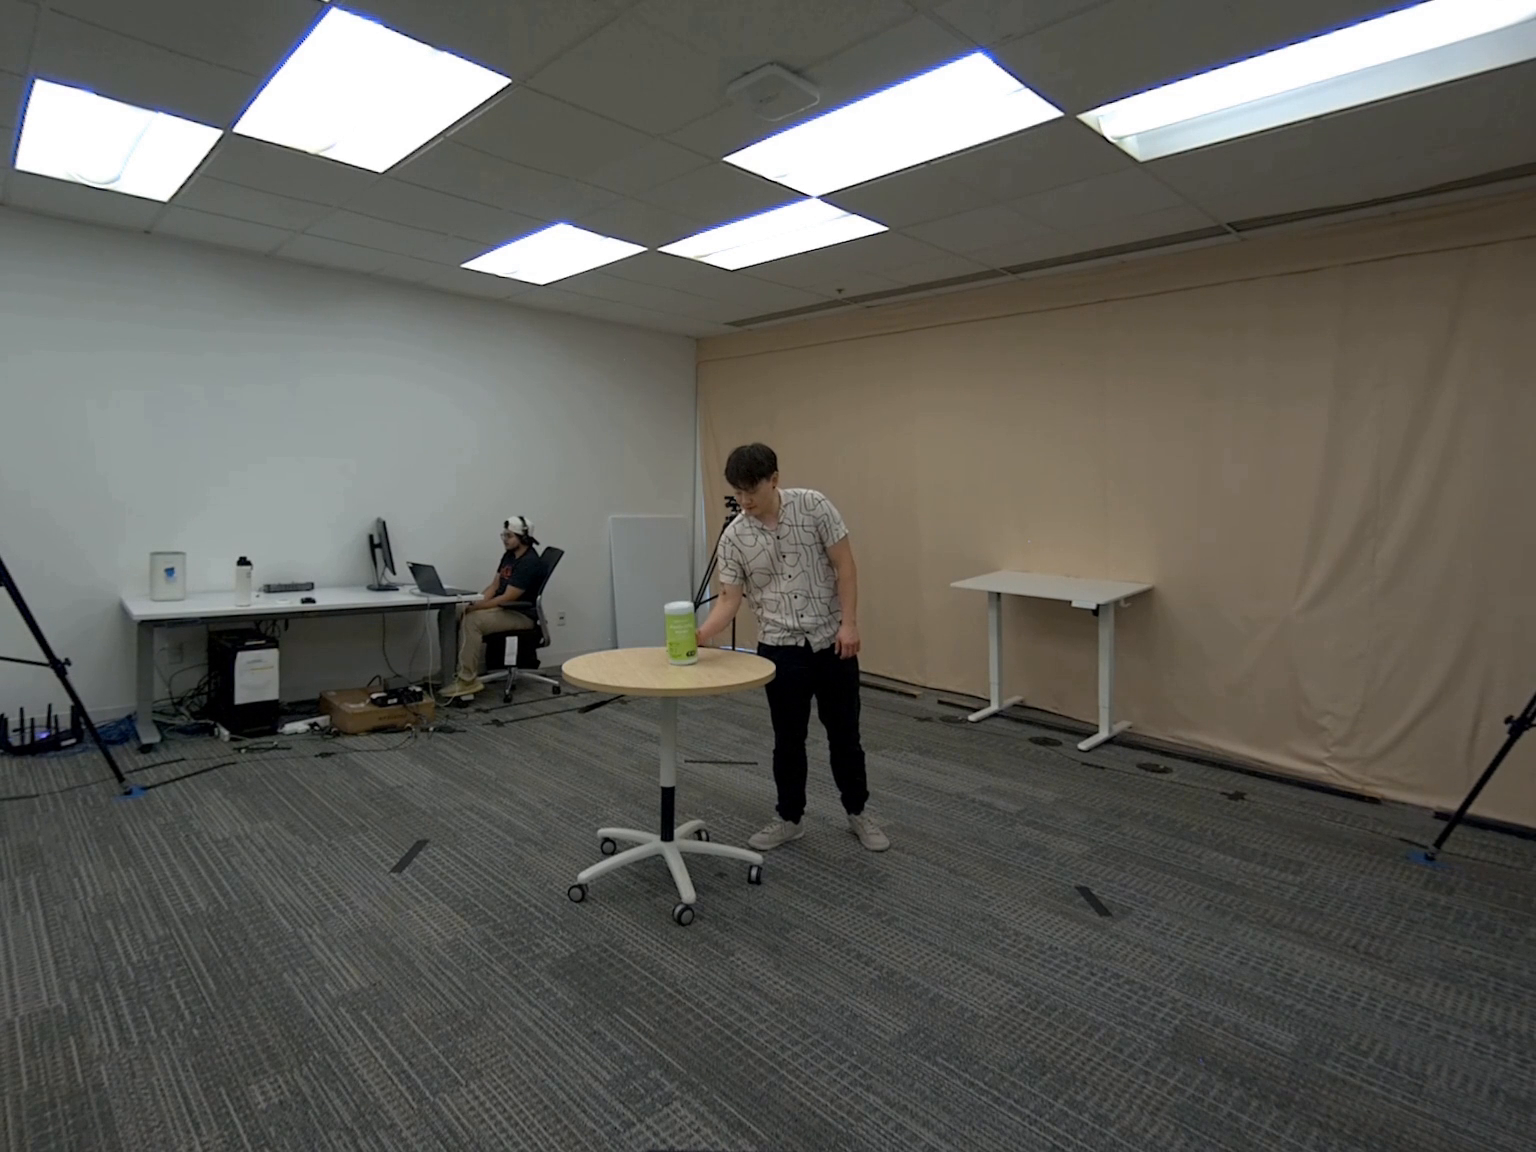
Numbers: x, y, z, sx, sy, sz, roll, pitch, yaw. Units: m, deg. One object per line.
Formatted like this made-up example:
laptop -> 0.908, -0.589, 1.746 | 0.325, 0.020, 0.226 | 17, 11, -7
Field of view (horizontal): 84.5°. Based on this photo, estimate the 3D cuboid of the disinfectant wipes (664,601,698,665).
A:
disinfectant wipes -> -0.325, 0.210, 3.061 | 0.118, 0.216, 0.118 | -4, 8, -1
